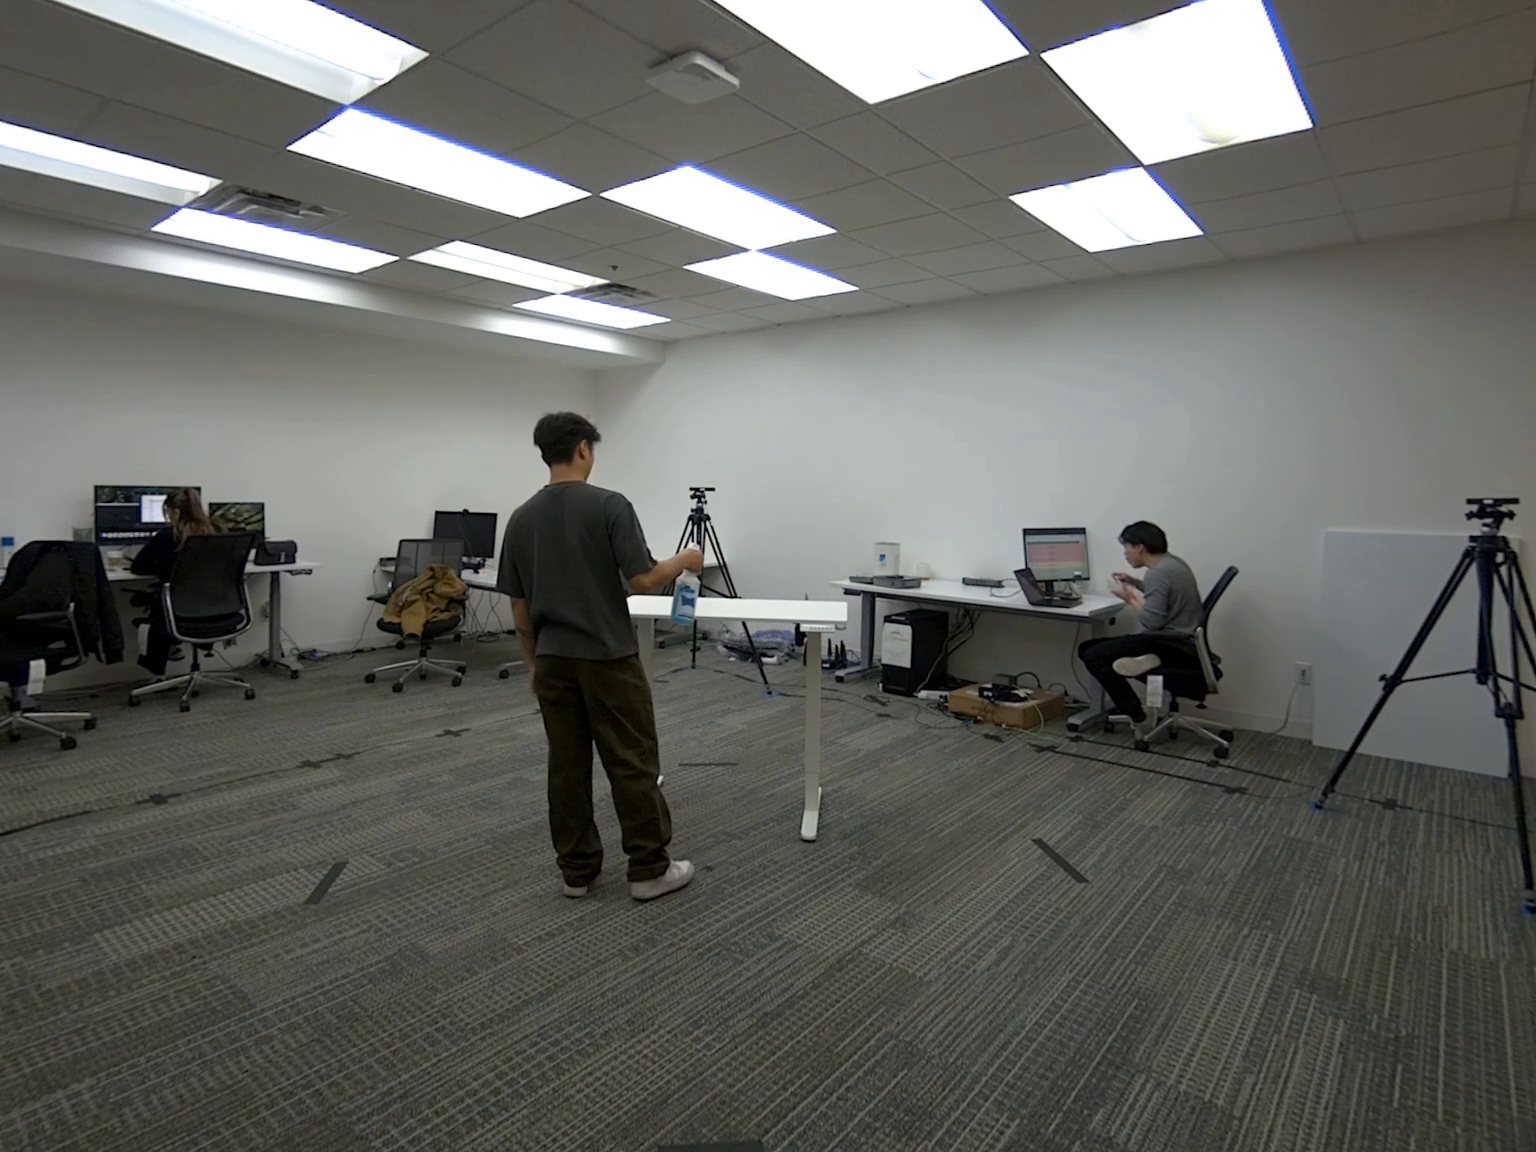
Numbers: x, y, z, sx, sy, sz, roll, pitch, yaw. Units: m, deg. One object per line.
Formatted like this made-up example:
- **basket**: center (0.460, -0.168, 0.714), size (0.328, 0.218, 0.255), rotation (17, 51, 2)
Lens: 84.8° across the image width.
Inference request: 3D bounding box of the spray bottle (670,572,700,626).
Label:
- **spray bottle**: center (-0.299, 0.026, 3.052), size (0.089, 0.300, 0.086), rotation (-3, -17, 39)
